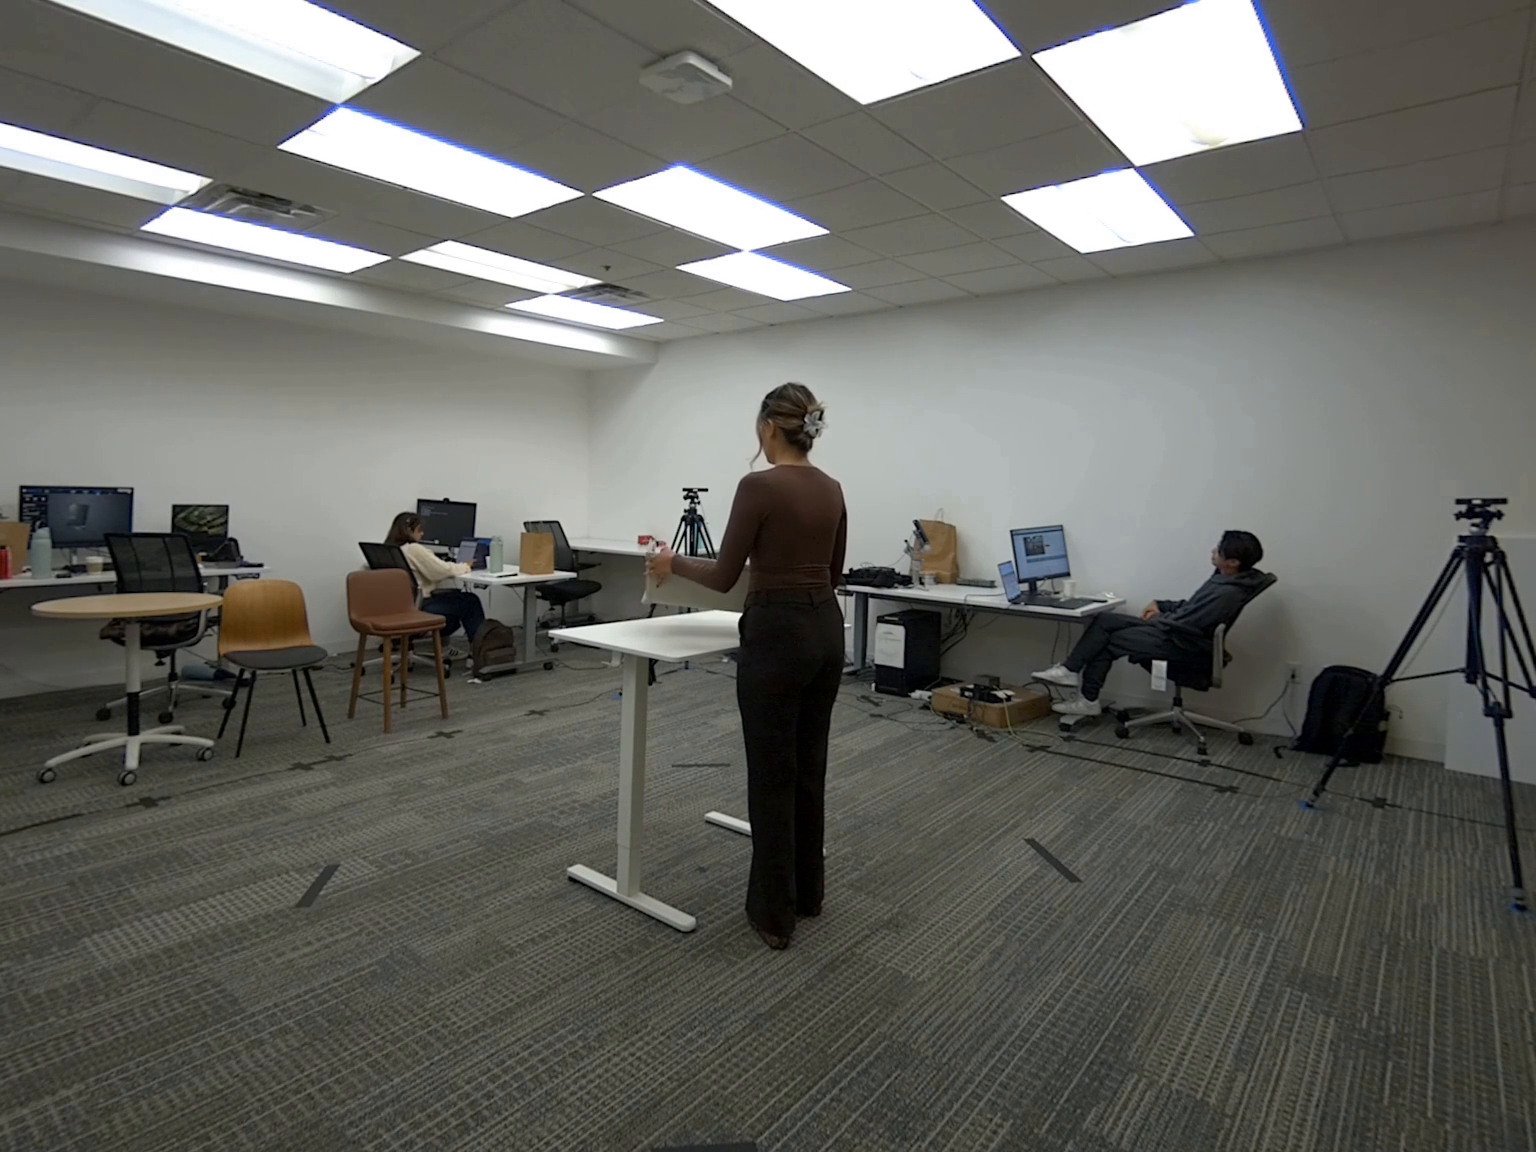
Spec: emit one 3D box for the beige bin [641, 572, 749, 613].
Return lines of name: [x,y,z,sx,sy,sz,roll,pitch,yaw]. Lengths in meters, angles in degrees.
beige bin: [-0.226,-0.002,3.038,0.422,0.187,0.381,6,12,-2]
